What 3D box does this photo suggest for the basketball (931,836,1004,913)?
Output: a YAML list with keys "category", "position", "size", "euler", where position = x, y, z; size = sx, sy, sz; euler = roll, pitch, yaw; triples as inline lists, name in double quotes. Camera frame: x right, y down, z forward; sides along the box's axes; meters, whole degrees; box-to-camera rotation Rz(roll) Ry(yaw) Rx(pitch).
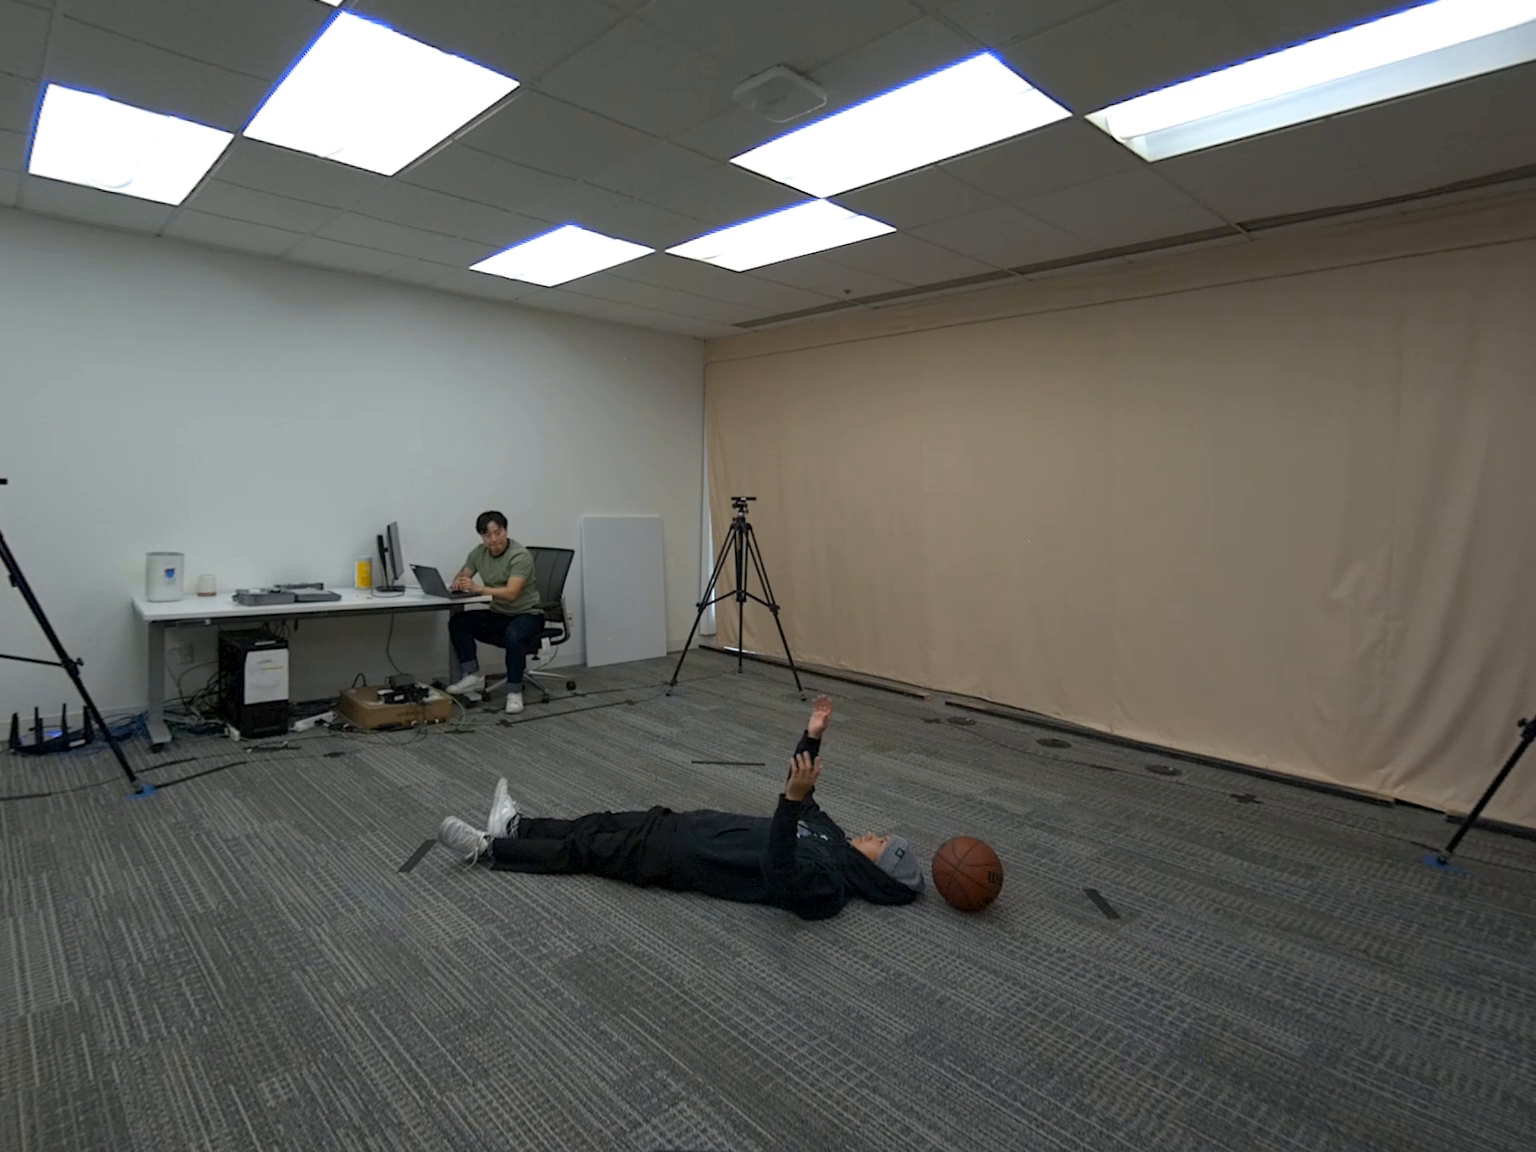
- category: "basketball"
  position: [0.679, 1.024, 2.909]
  size: [0.236, 0.235, 0.237]
  euler: [1, 4, -1]
